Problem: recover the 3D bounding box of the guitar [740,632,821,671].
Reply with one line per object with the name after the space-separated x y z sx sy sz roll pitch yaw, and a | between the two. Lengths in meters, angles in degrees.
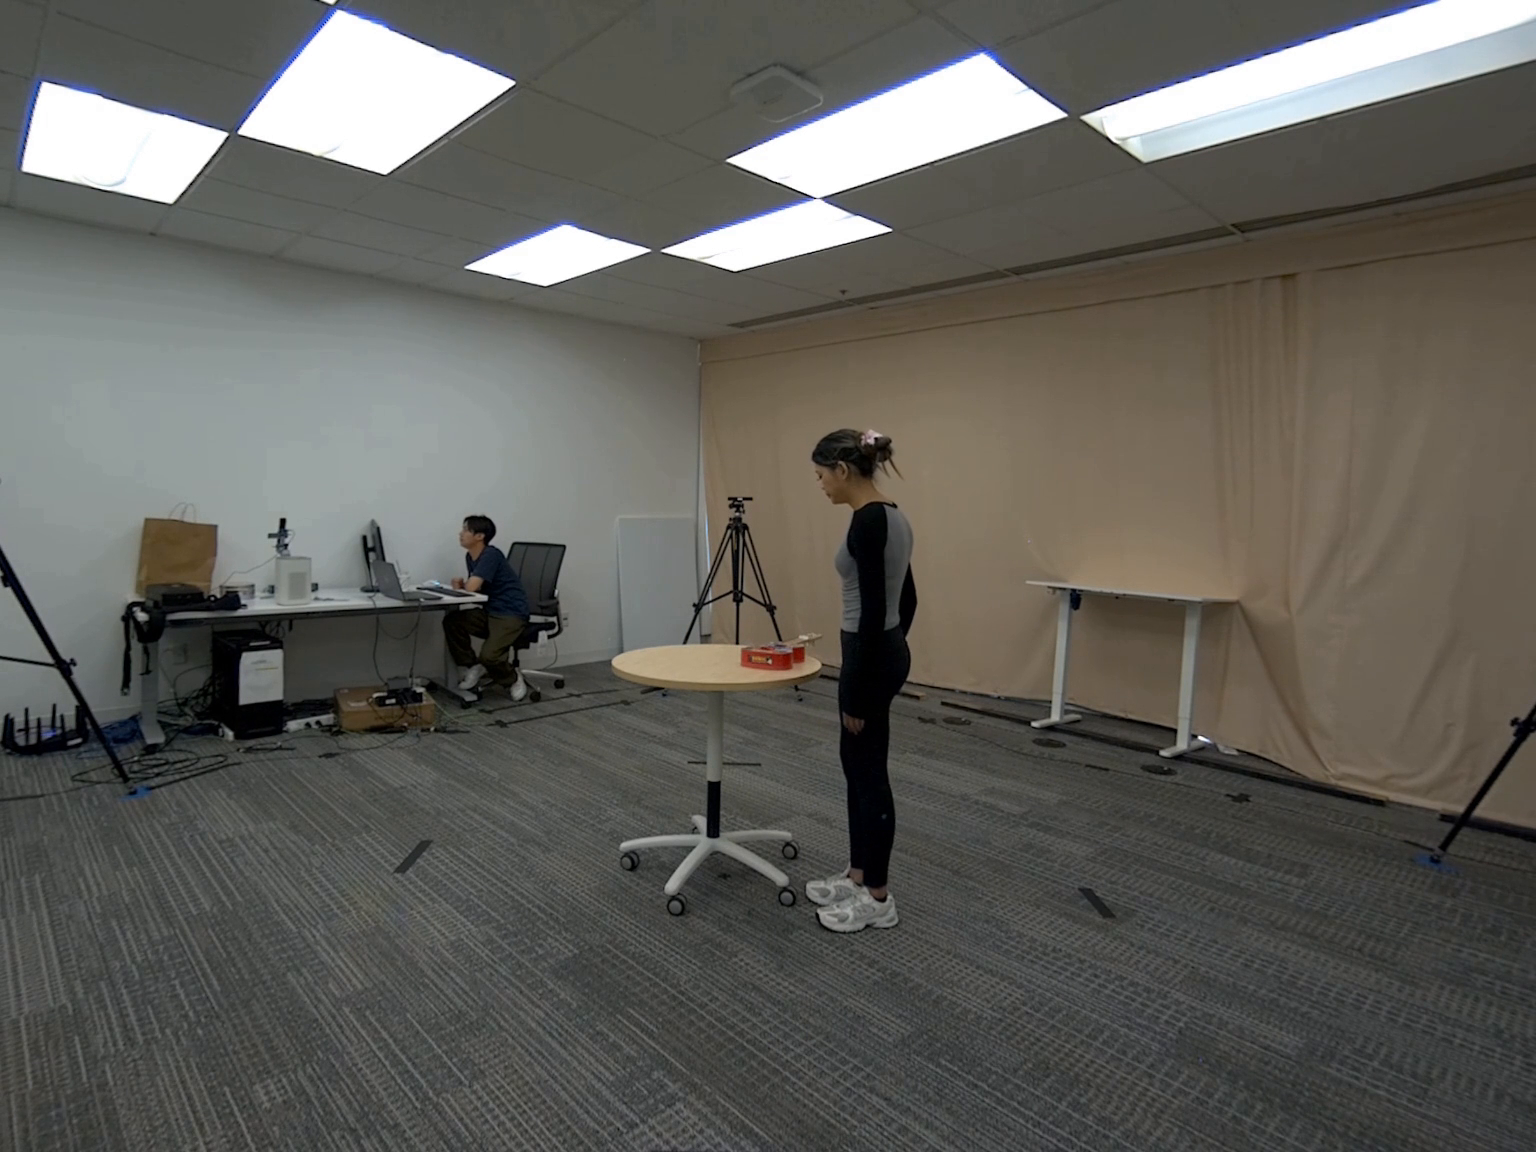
0.102 0.279 3.164 0.197 0.070 0.487 3 5 37 | guitar
